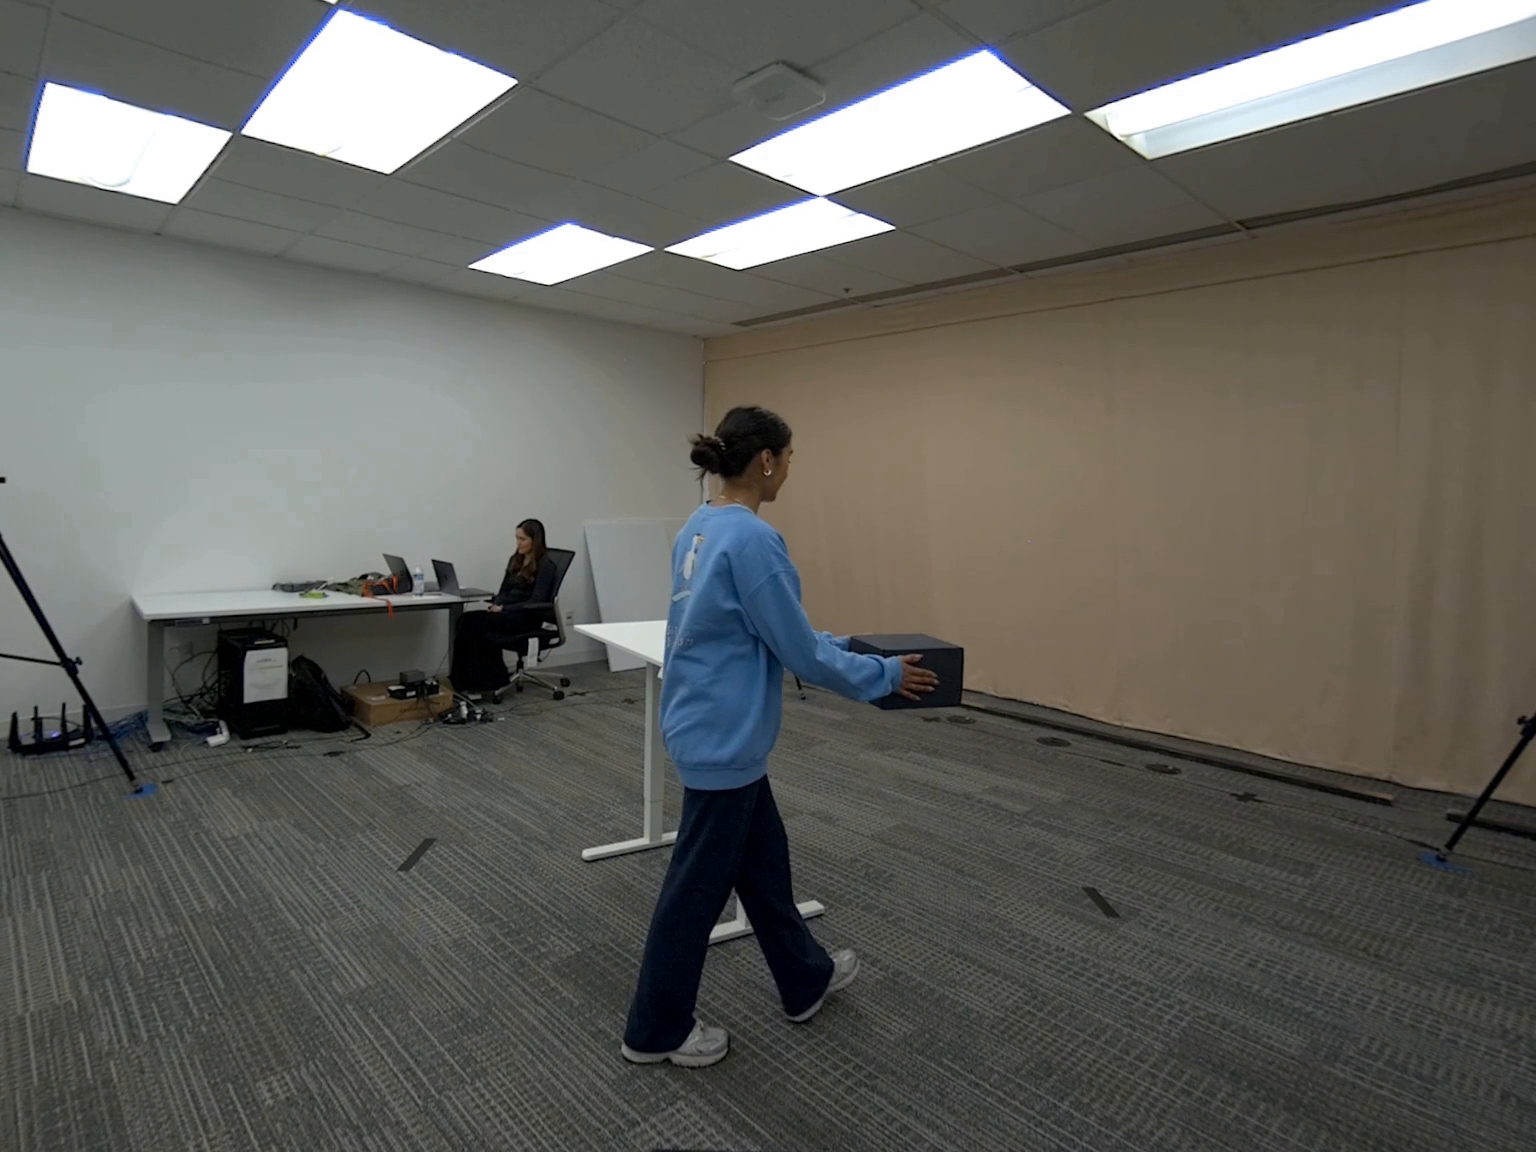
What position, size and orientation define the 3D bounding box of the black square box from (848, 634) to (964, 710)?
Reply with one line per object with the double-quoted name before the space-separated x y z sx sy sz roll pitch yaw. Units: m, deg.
"black square box" 0.367 0.251 2.247 0.225 0.155 0.220 -1 5 -15
